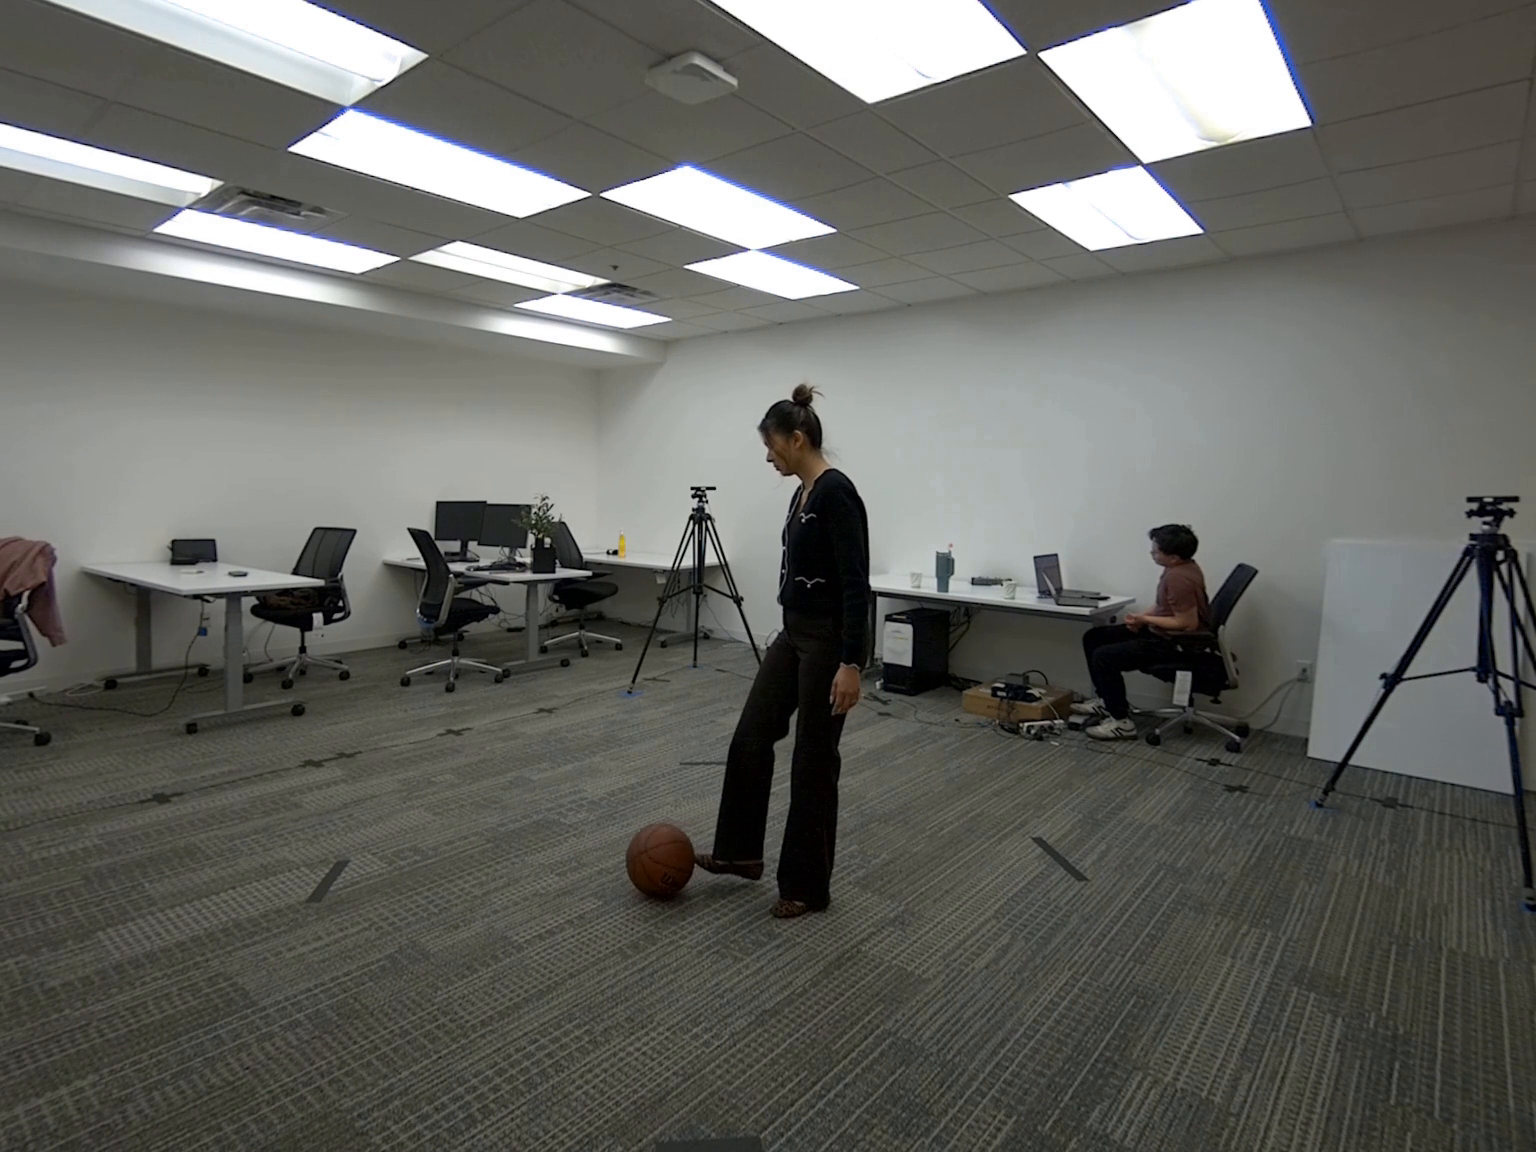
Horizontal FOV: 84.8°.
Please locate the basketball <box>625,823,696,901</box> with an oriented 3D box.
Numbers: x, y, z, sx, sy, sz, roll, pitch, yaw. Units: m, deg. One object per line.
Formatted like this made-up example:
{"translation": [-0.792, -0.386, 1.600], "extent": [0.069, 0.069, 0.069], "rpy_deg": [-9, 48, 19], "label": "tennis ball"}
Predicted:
{"translation": [-0.375, 0.963, 2.897], "extent": [0.235, 0.235, 0.237], "rpy_deg": [1, 4, -2], "label": "basketball"}
